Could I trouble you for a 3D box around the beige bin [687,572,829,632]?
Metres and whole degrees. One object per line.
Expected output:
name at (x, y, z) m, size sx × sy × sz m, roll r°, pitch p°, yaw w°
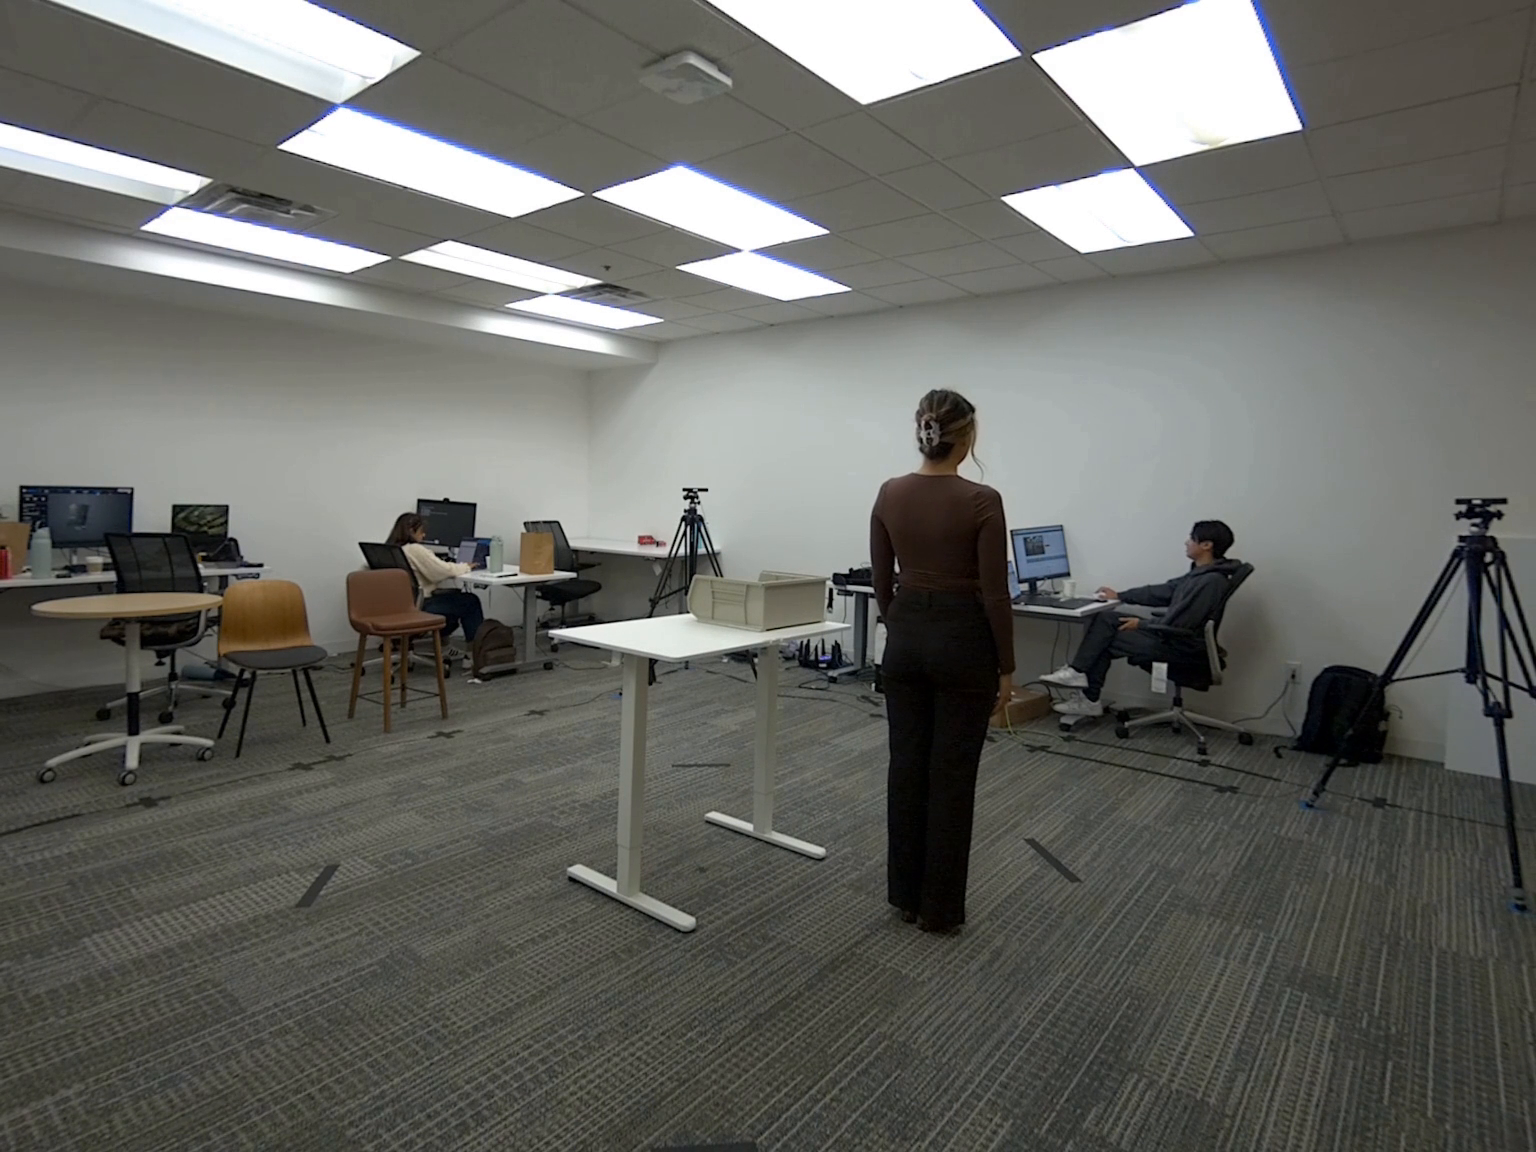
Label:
beige bin at (-0.045, 0.087, 3.298) m, size 0.390 × 0.188 × 0.409 m, roll 7°, pitch 6°, yaw 39°
